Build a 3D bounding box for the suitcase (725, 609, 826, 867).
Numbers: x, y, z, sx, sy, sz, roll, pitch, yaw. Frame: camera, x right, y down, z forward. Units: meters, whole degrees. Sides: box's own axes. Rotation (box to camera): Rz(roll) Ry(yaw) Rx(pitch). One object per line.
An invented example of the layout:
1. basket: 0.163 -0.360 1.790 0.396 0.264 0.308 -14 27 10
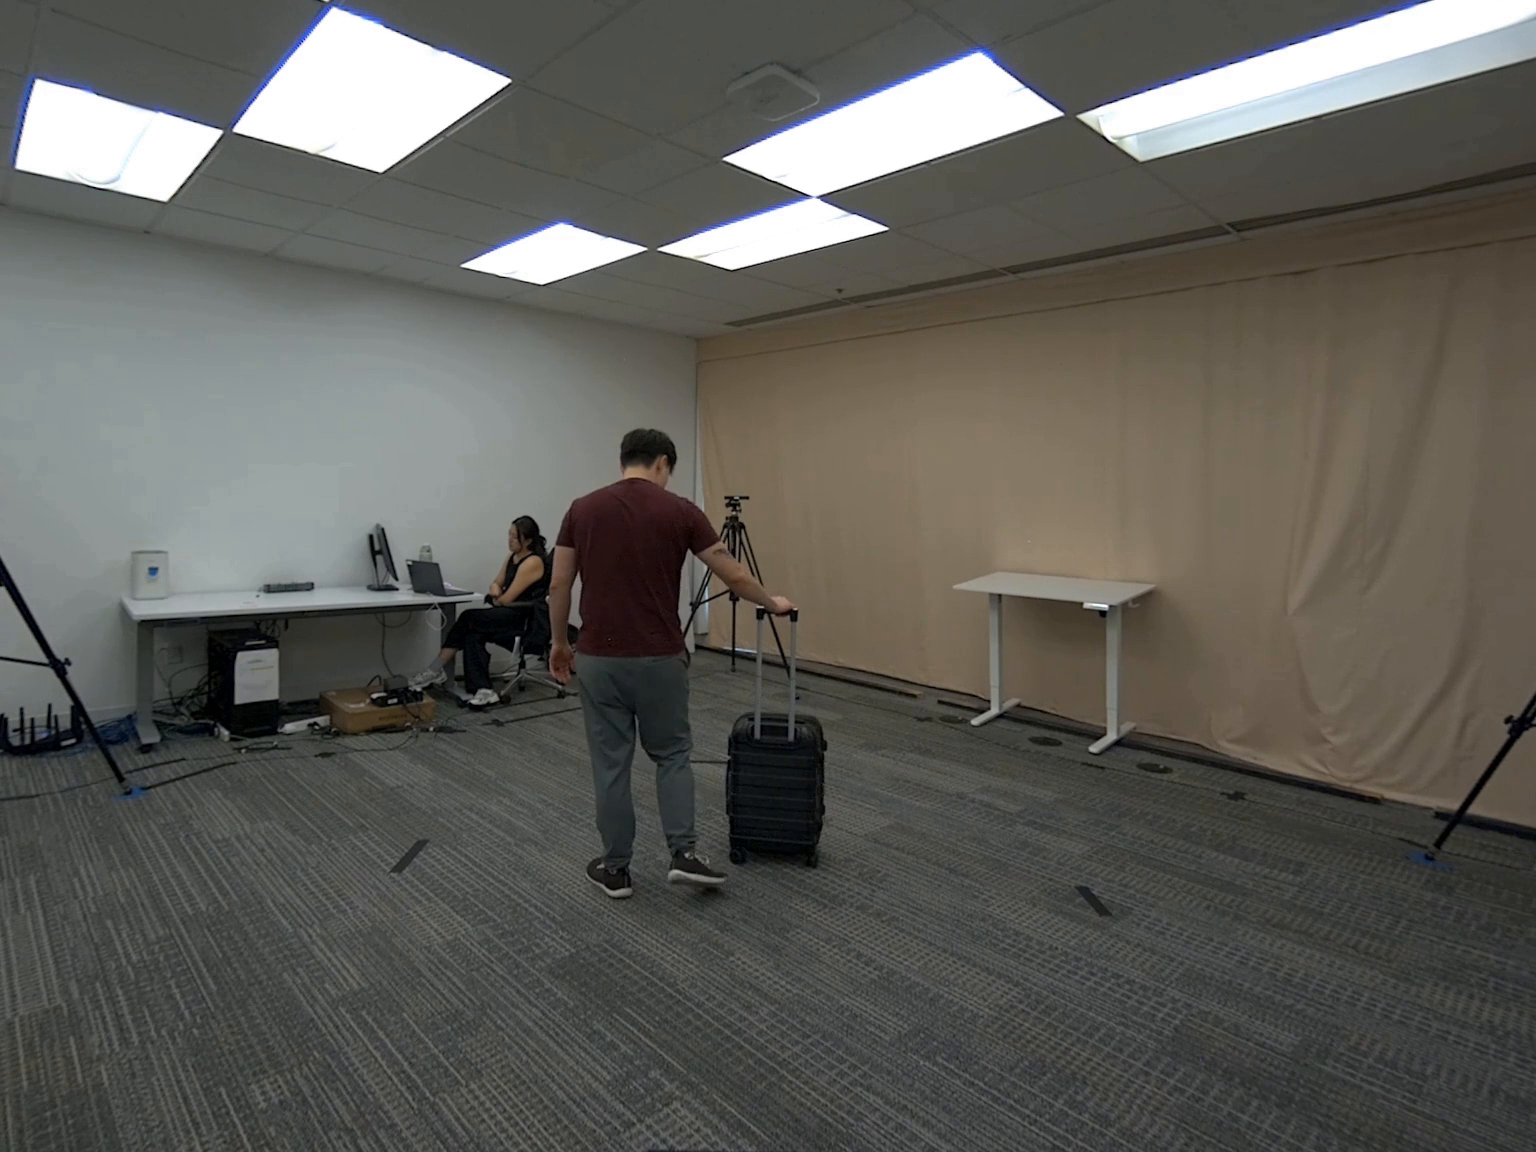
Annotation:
1. suitcase: 0.030 0.614 3.285 0.386 0.977 0.256 2 2 7
